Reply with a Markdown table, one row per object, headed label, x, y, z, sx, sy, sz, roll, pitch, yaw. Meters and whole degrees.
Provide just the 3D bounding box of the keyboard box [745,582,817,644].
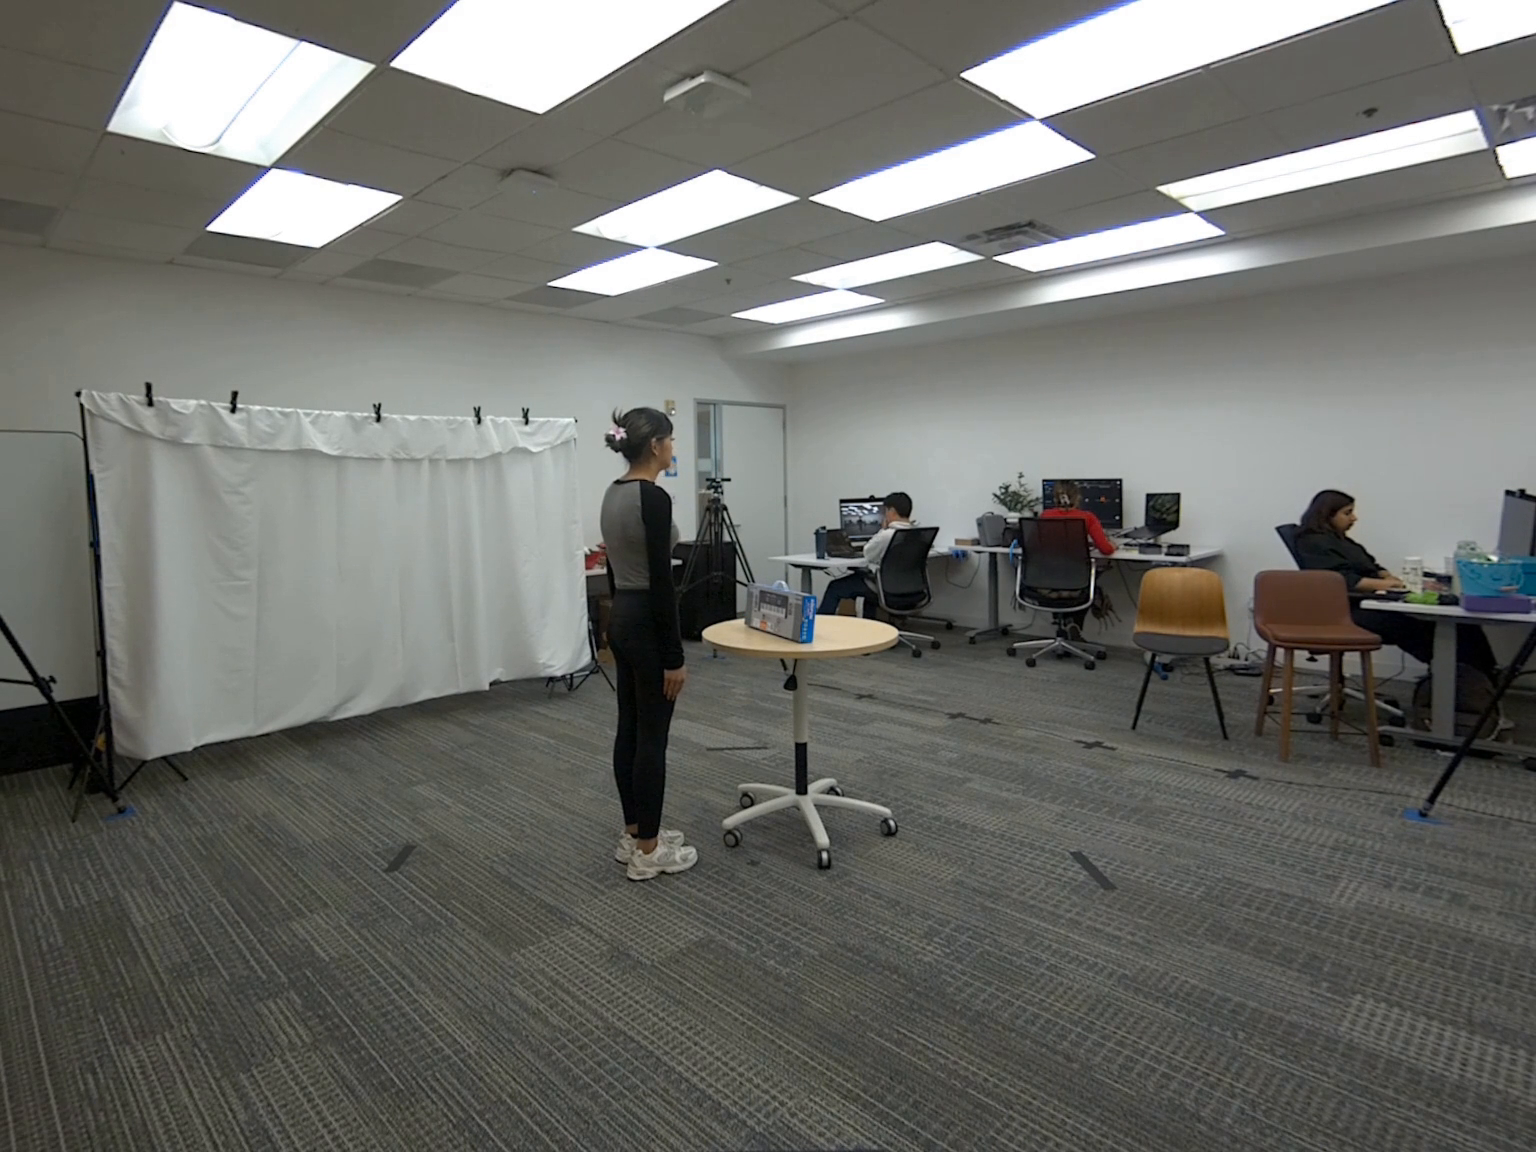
| label | x | y | z | sx | sy | sz | roll | pitch | yaw |
| --- | --- | --- | --- | --- | --- | --- | --- | --- | --- |
| keyboard box | 0.037 | 0.138 | 3.308 | 0.058 | 0.176 | 0.448 | 4 | 3 | -26 |
